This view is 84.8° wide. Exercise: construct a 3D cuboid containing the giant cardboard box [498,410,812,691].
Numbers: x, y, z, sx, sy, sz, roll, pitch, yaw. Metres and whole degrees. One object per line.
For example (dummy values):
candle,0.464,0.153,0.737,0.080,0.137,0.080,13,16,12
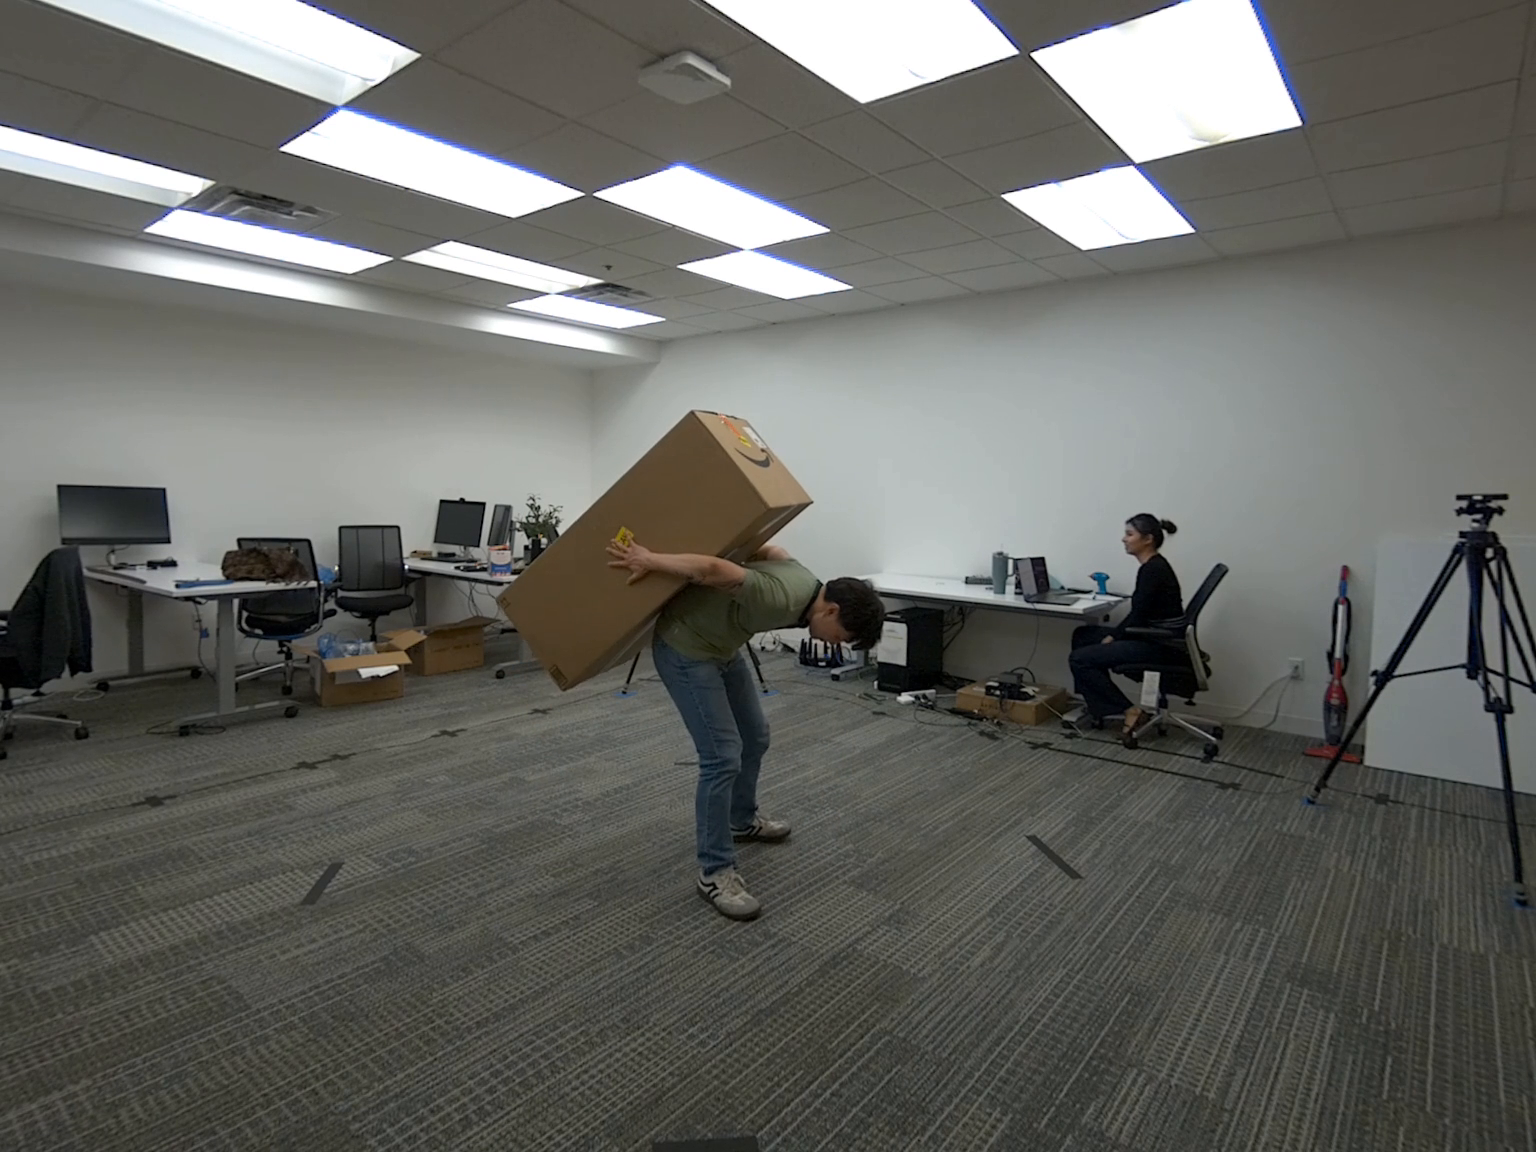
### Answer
giant cardboard box,-0.420,-0.098,3.156,1.028,0.432,0.568,-41,-9,18
